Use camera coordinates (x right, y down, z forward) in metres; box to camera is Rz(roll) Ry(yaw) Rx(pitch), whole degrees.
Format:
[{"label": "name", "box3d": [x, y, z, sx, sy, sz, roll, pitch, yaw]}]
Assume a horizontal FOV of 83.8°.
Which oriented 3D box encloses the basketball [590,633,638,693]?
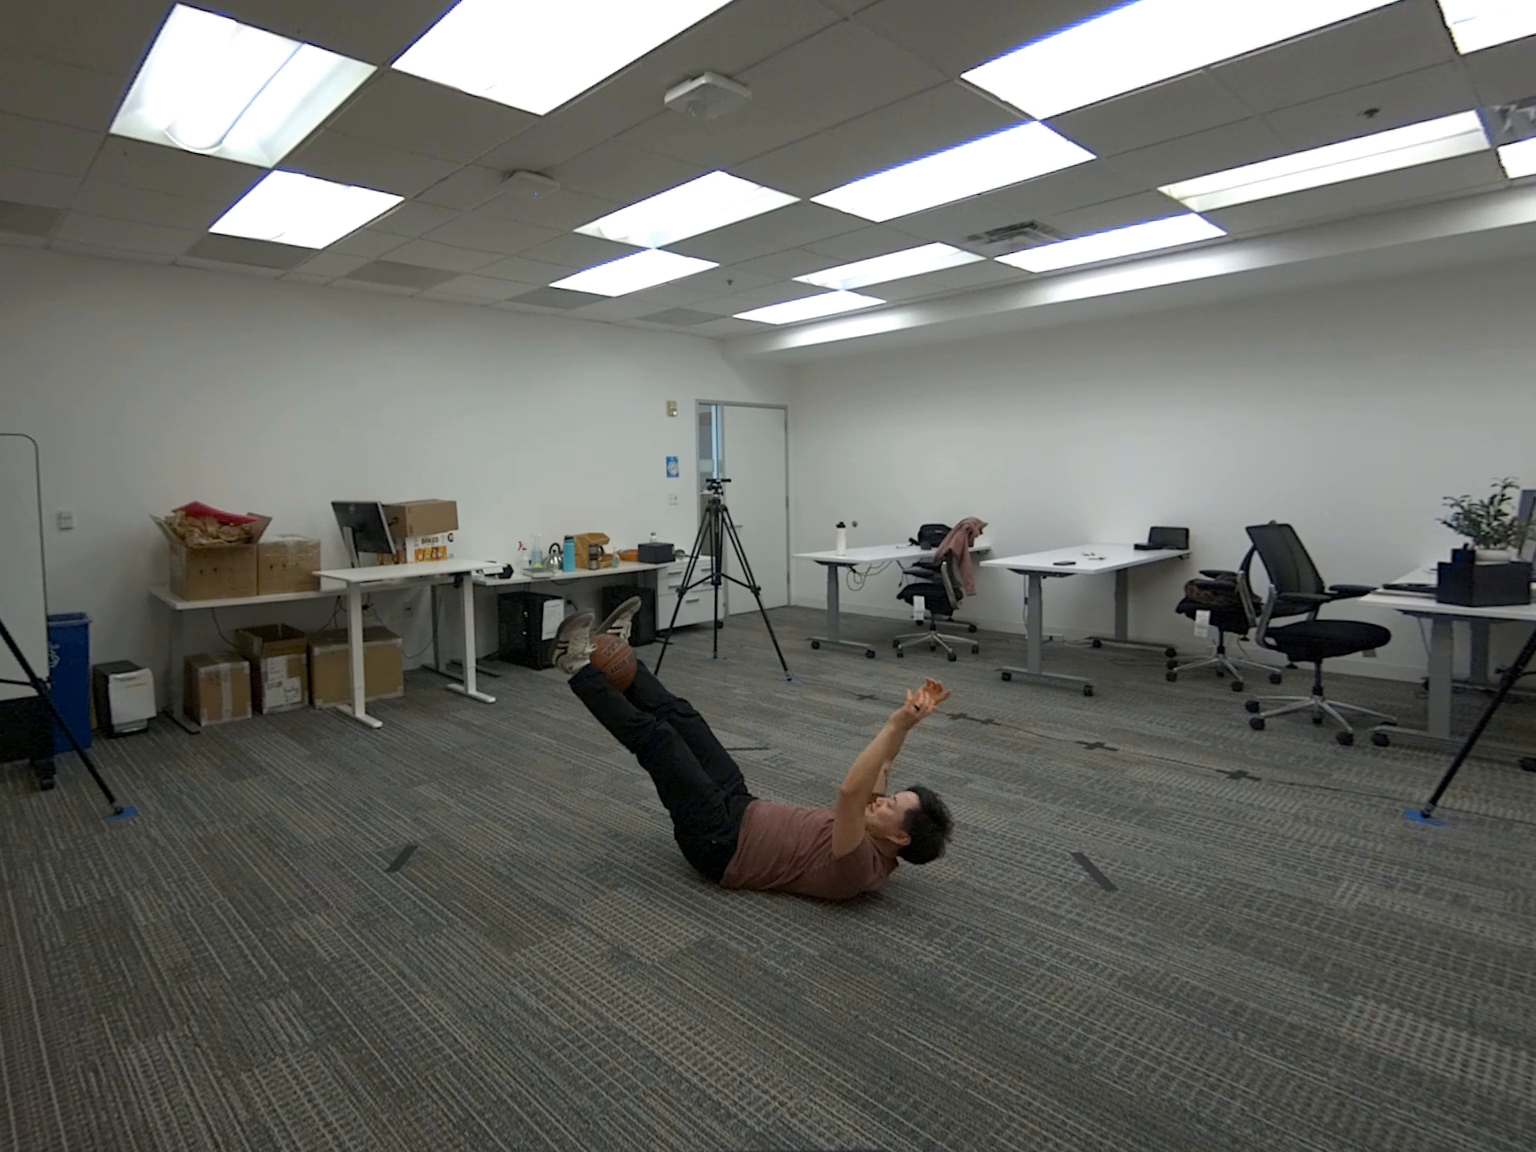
[{"label": "basketball", "box3d": [-0.615, 0.341, 3.193, 0.236, 0.236, 0.236, 0, 1, -2]}]
